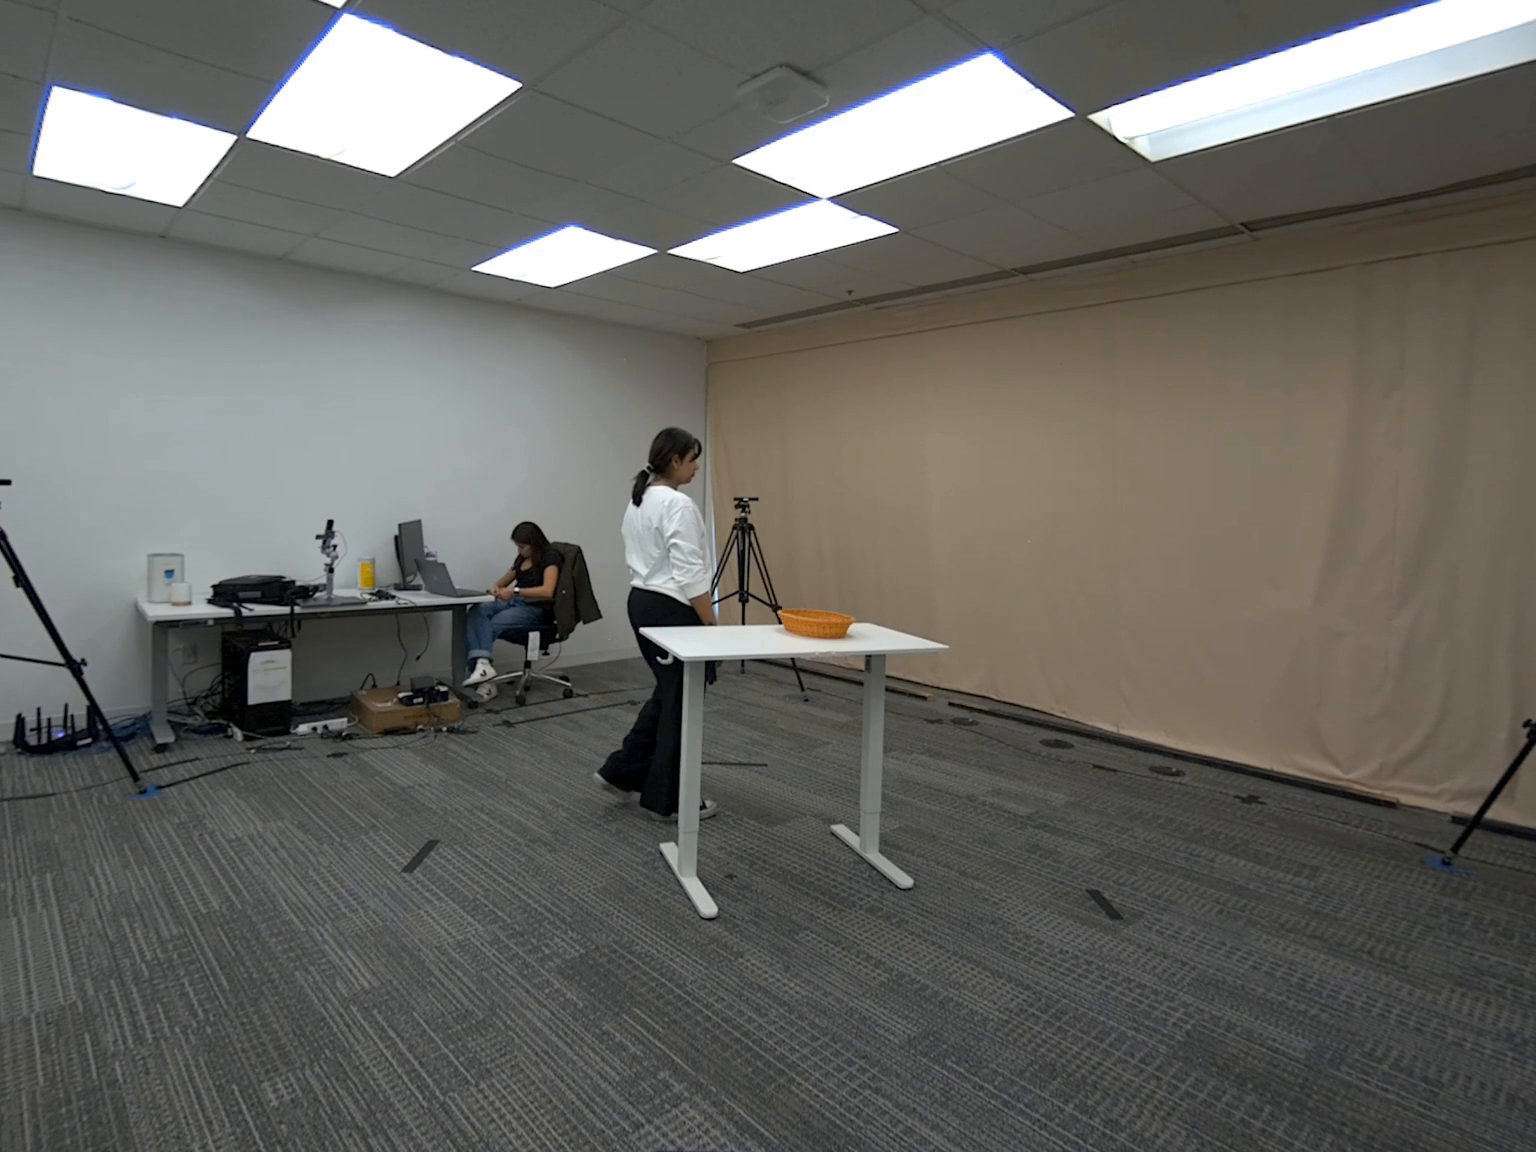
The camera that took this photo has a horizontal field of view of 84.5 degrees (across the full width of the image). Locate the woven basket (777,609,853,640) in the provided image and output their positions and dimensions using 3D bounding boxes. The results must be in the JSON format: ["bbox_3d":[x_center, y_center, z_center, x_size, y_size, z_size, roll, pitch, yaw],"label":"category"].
[{"bbox_3d":[0.172,0.188,3.254,0.247,0.073,0.358,-1,6,-30],"label":"woven basket"}]
